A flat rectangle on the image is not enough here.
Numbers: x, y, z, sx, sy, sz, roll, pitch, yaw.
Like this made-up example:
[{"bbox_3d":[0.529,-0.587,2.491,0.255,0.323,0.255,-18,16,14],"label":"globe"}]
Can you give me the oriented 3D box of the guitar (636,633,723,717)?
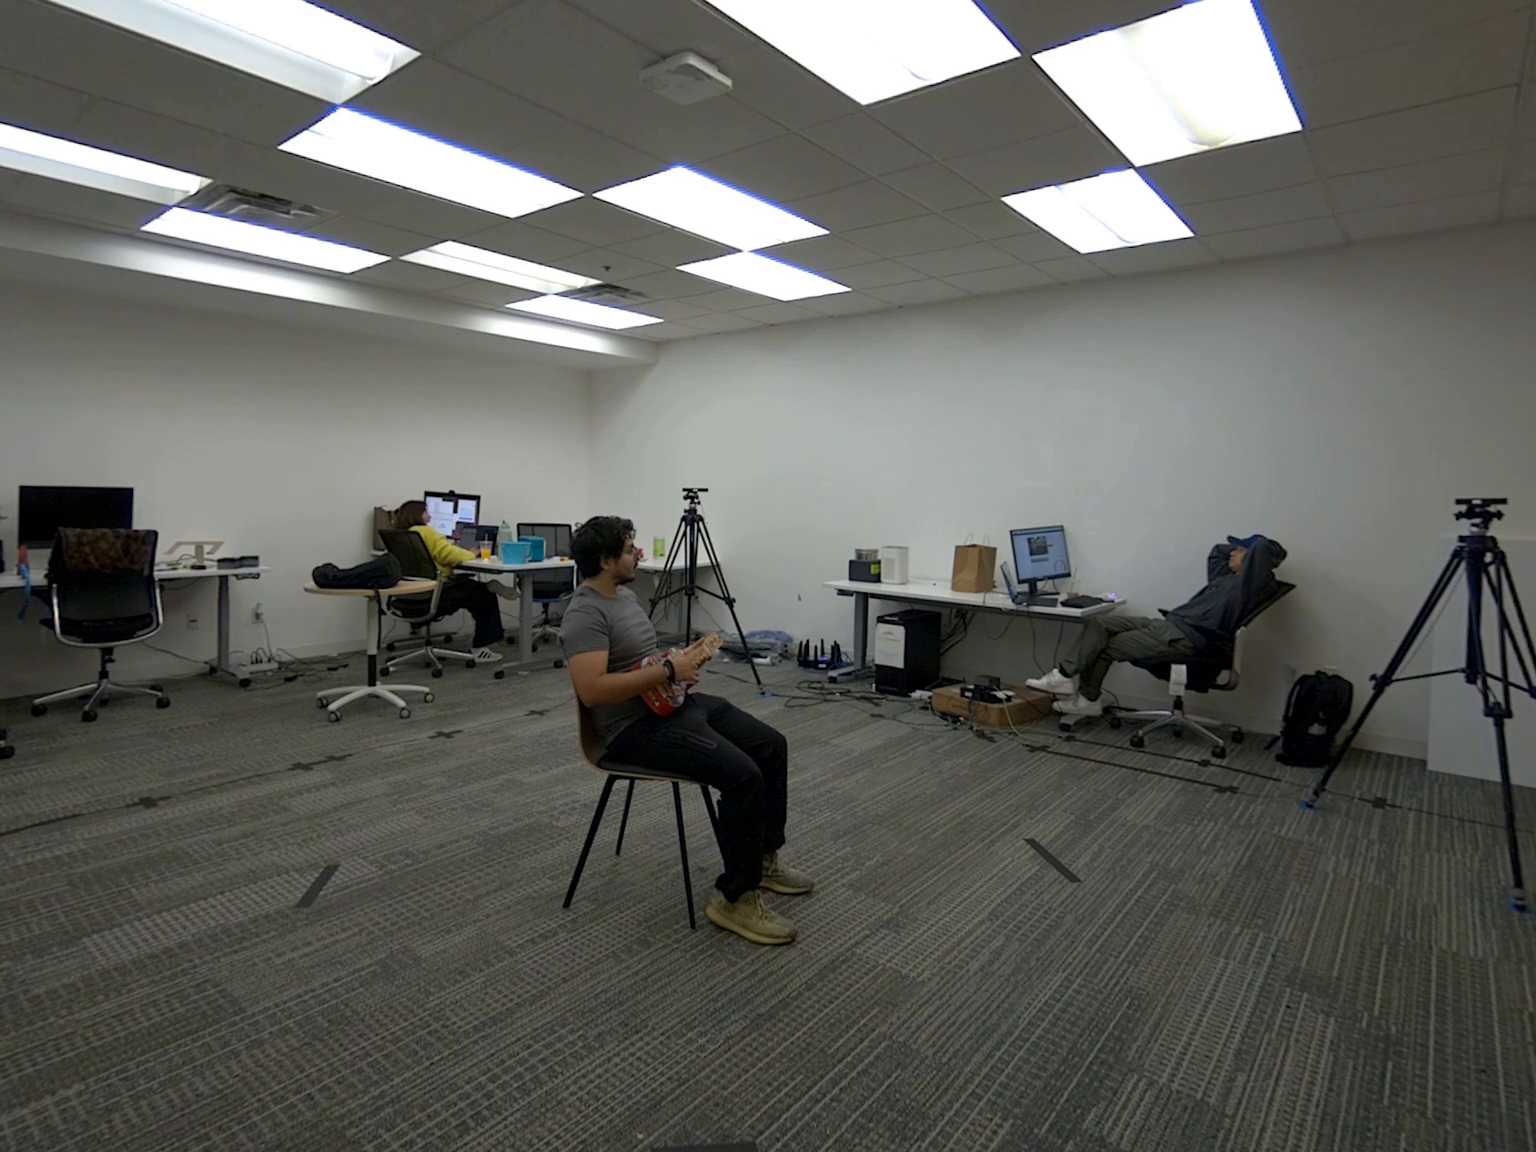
[{"bbox_3d":[-0.276,0.329,2.931,0.071,0.196,0.487,-43,-13,27],"label":"guitar"}]
